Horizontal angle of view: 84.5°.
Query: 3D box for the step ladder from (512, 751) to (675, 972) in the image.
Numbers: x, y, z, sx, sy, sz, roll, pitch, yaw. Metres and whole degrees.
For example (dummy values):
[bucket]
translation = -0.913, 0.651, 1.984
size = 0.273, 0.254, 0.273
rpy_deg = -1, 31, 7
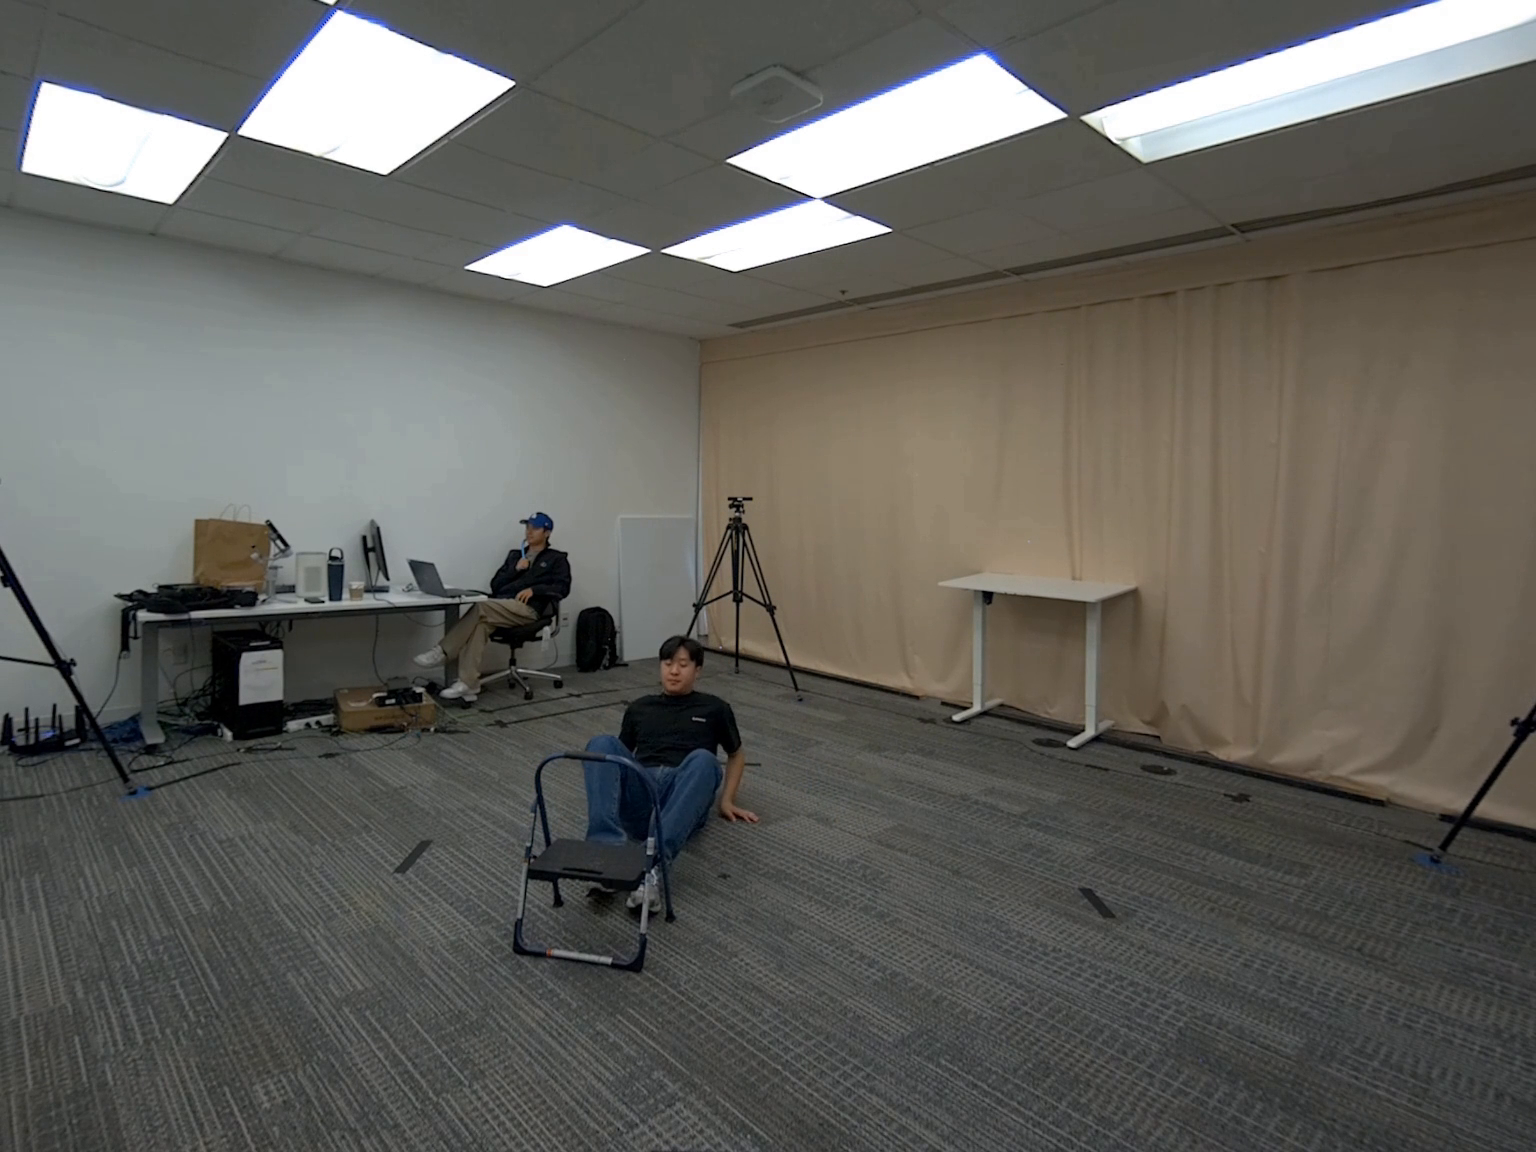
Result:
[step ladder]
translation = -0.544, 0.839, 2.643
size = 0.434, 0.605, 0.347
rpy_deg = 2, 1, 9
